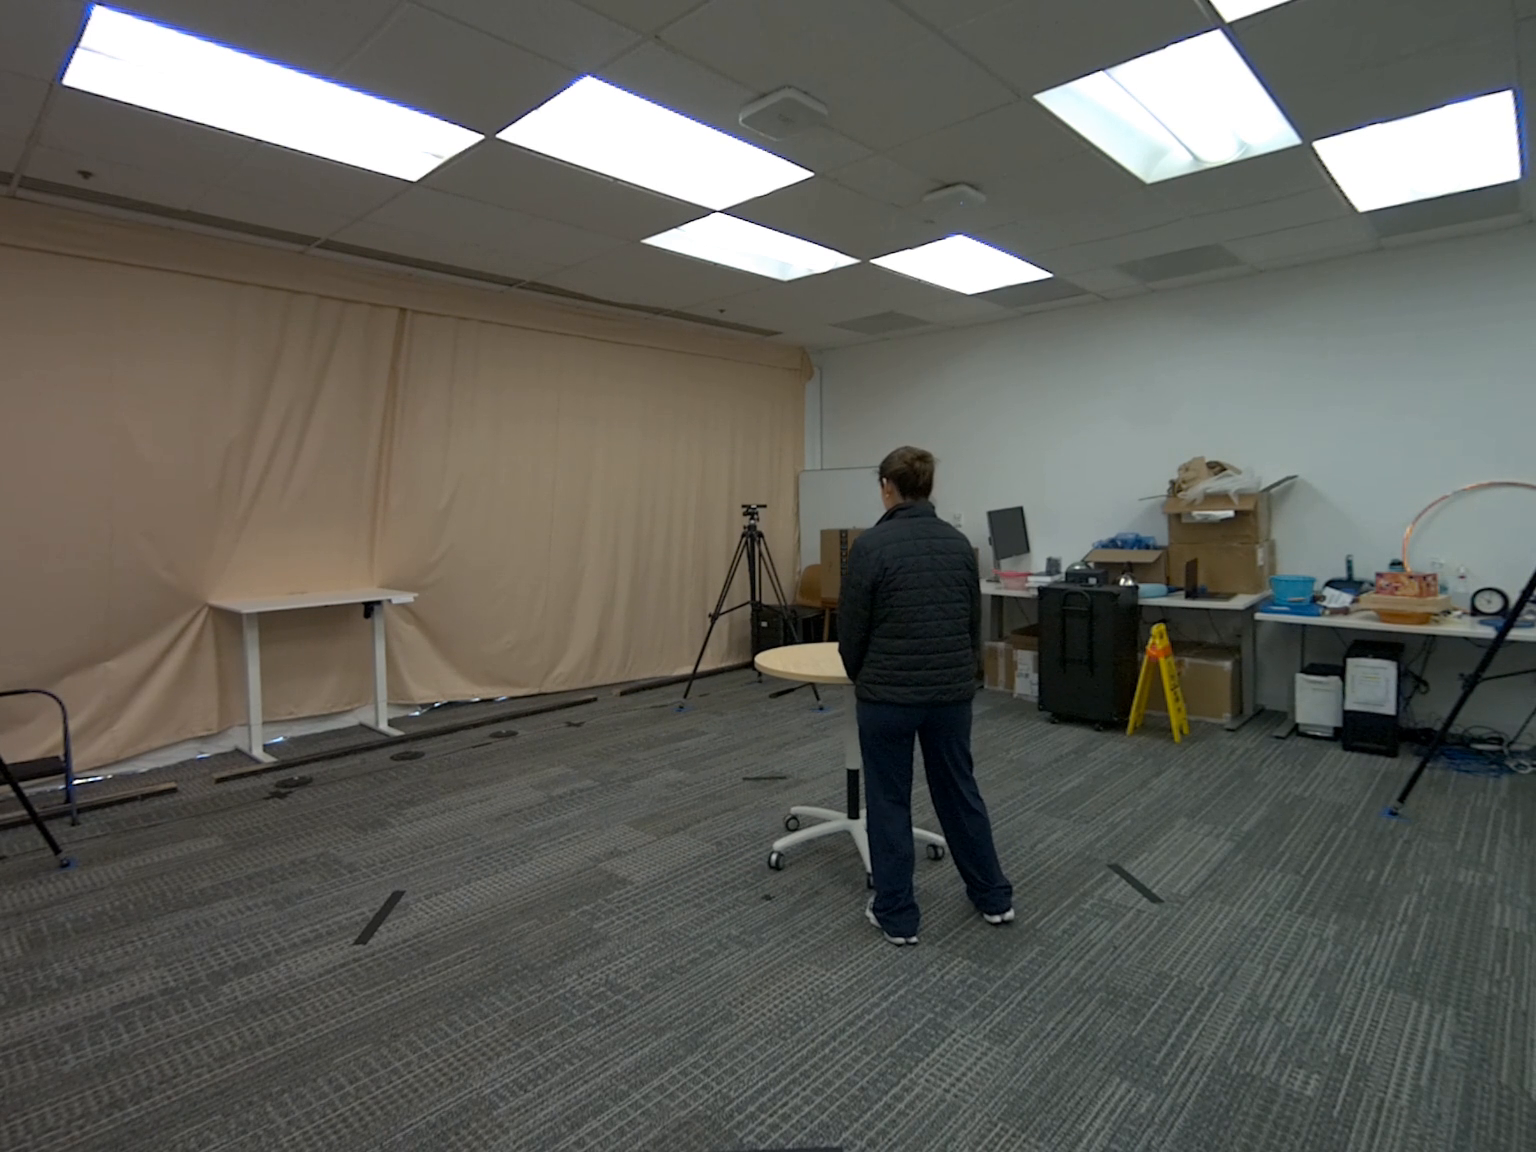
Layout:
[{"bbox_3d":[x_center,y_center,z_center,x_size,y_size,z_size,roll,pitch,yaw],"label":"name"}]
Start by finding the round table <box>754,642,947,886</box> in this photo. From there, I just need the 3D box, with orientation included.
[{"bbox_3d":[0.344,0.709,3.325,0.784,0.785,0.787,-1,3,-2],"label":"round table"}]
